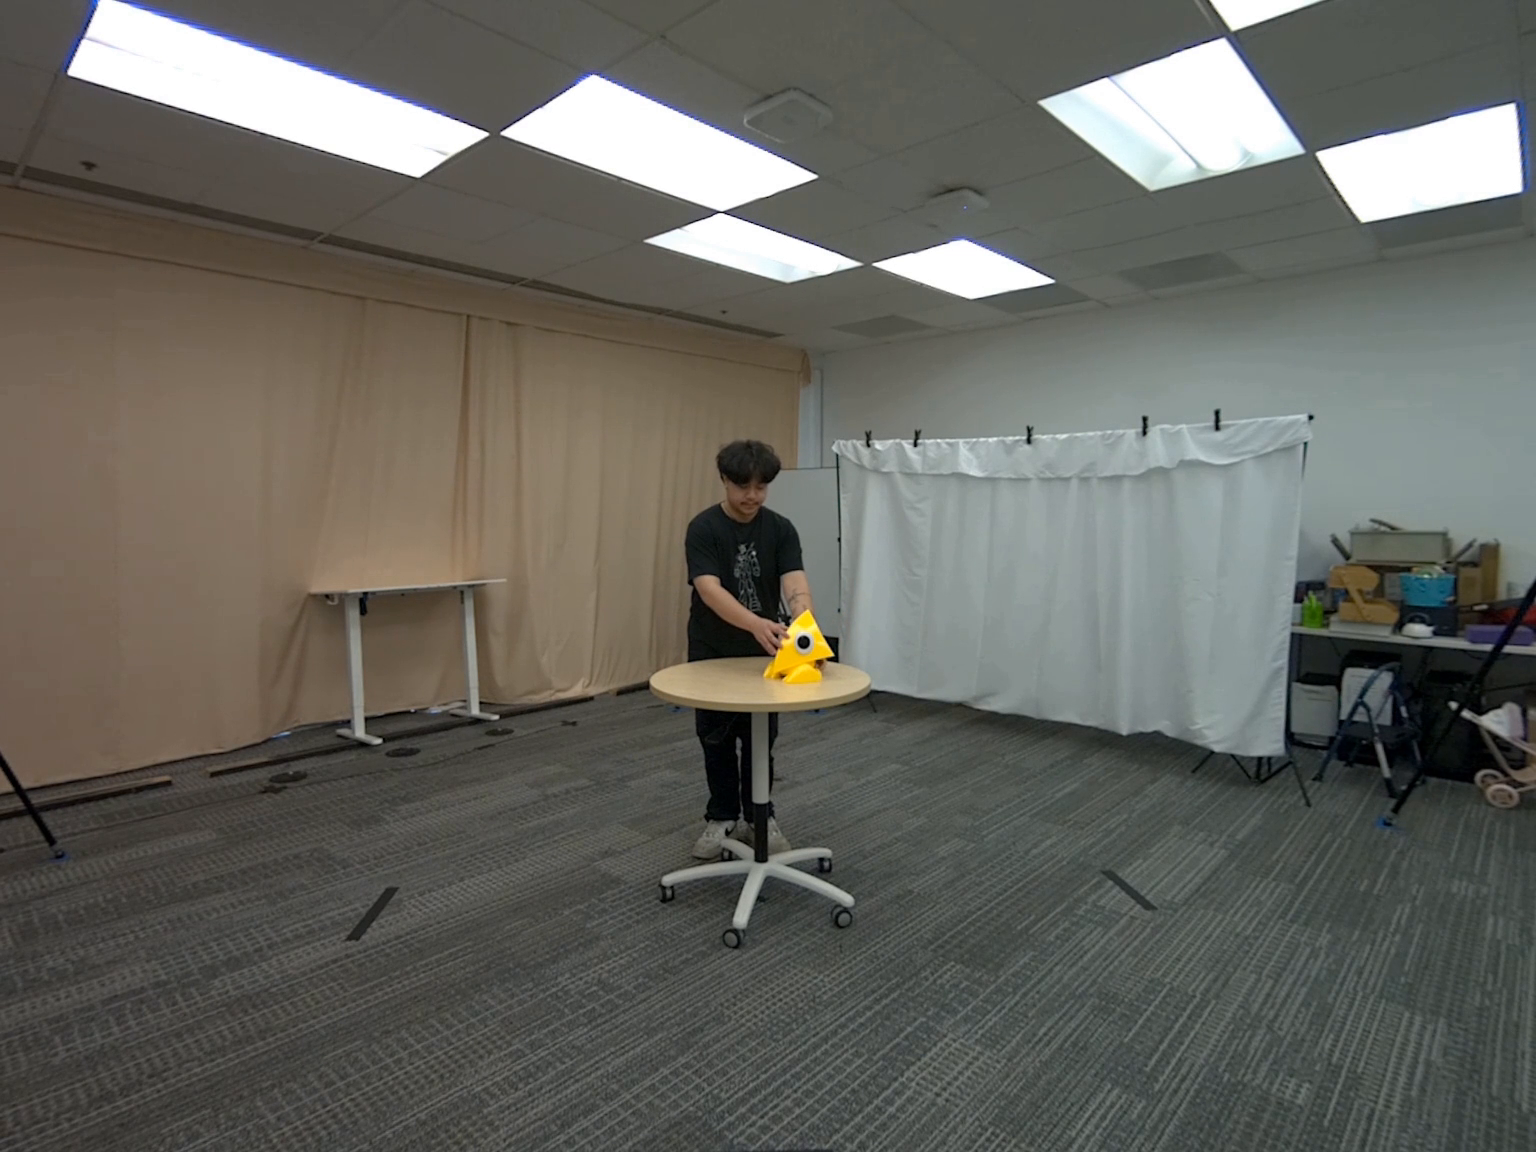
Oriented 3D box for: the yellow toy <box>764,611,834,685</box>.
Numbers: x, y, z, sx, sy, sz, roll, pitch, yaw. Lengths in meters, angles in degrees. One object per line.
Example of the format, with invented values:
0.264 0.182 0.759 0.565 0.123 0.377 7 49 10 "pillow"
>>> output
0.098 0.241 2.931 0.188 0.230 0.211 -4 4 -33 "yellow toy"
